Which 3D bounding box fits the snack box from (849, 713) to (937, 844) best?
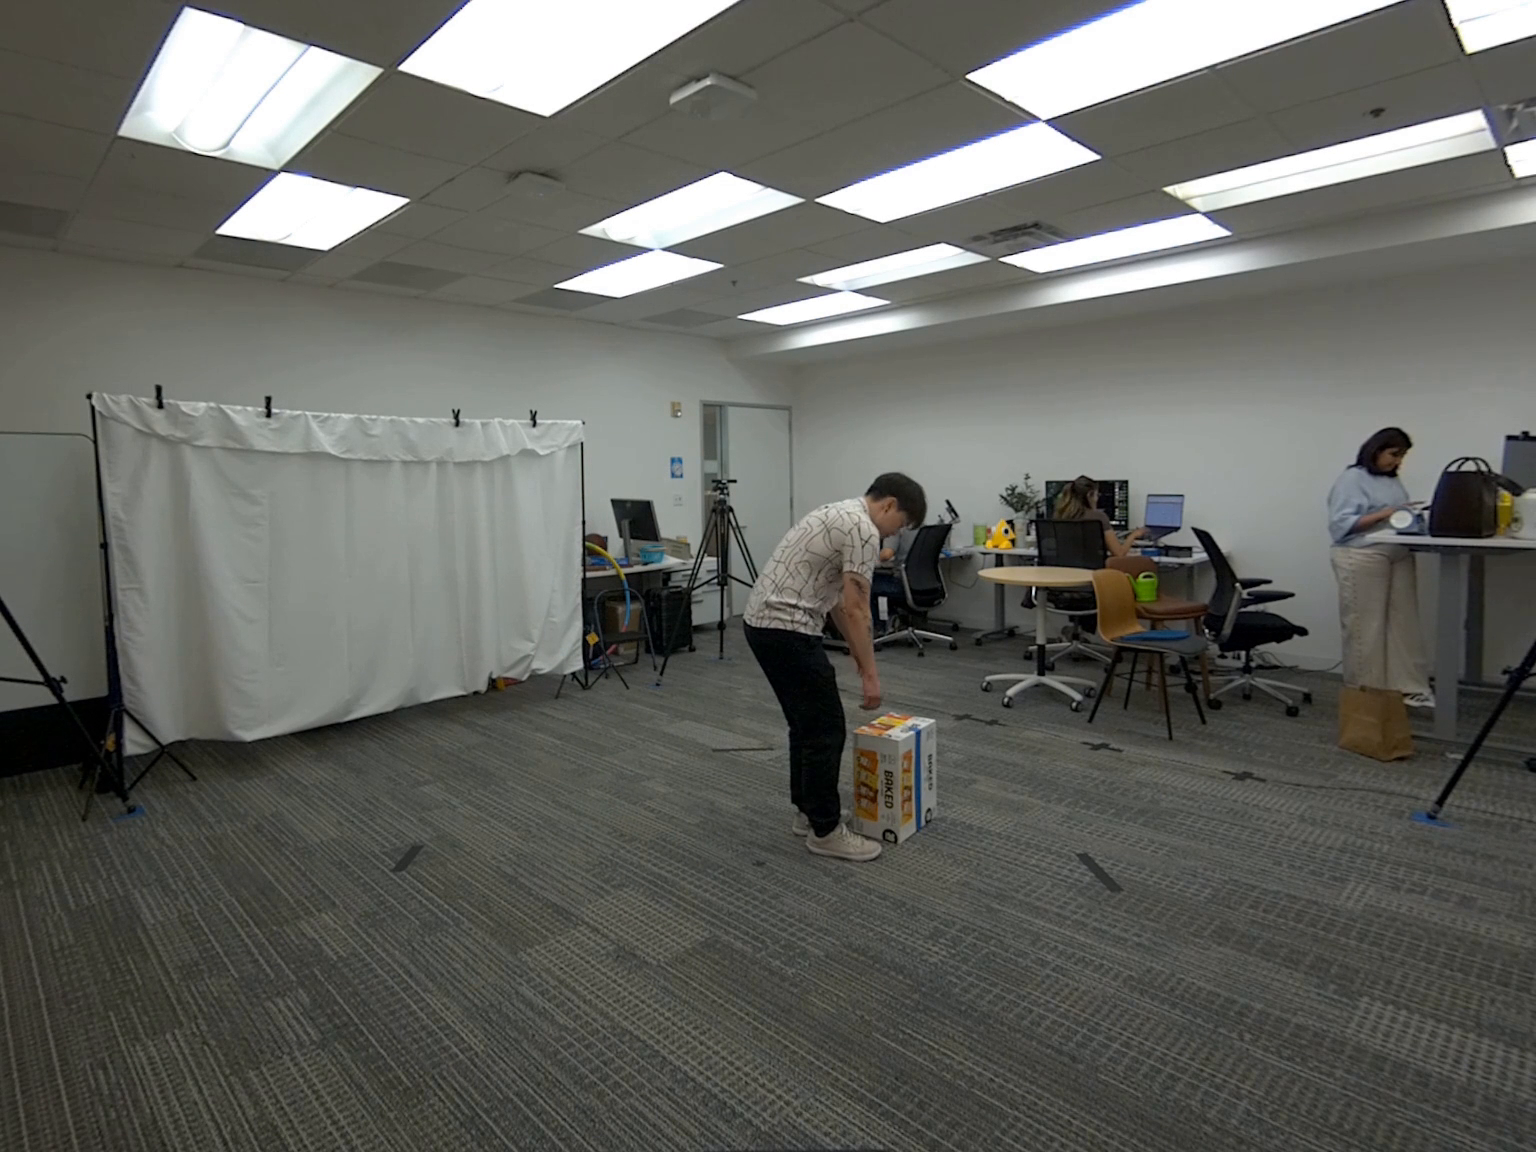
[{"bbox_3d":[0.510,0.796,3.430,0.211,0.403,0.332,2,6,36],"label":"snack box"}]
